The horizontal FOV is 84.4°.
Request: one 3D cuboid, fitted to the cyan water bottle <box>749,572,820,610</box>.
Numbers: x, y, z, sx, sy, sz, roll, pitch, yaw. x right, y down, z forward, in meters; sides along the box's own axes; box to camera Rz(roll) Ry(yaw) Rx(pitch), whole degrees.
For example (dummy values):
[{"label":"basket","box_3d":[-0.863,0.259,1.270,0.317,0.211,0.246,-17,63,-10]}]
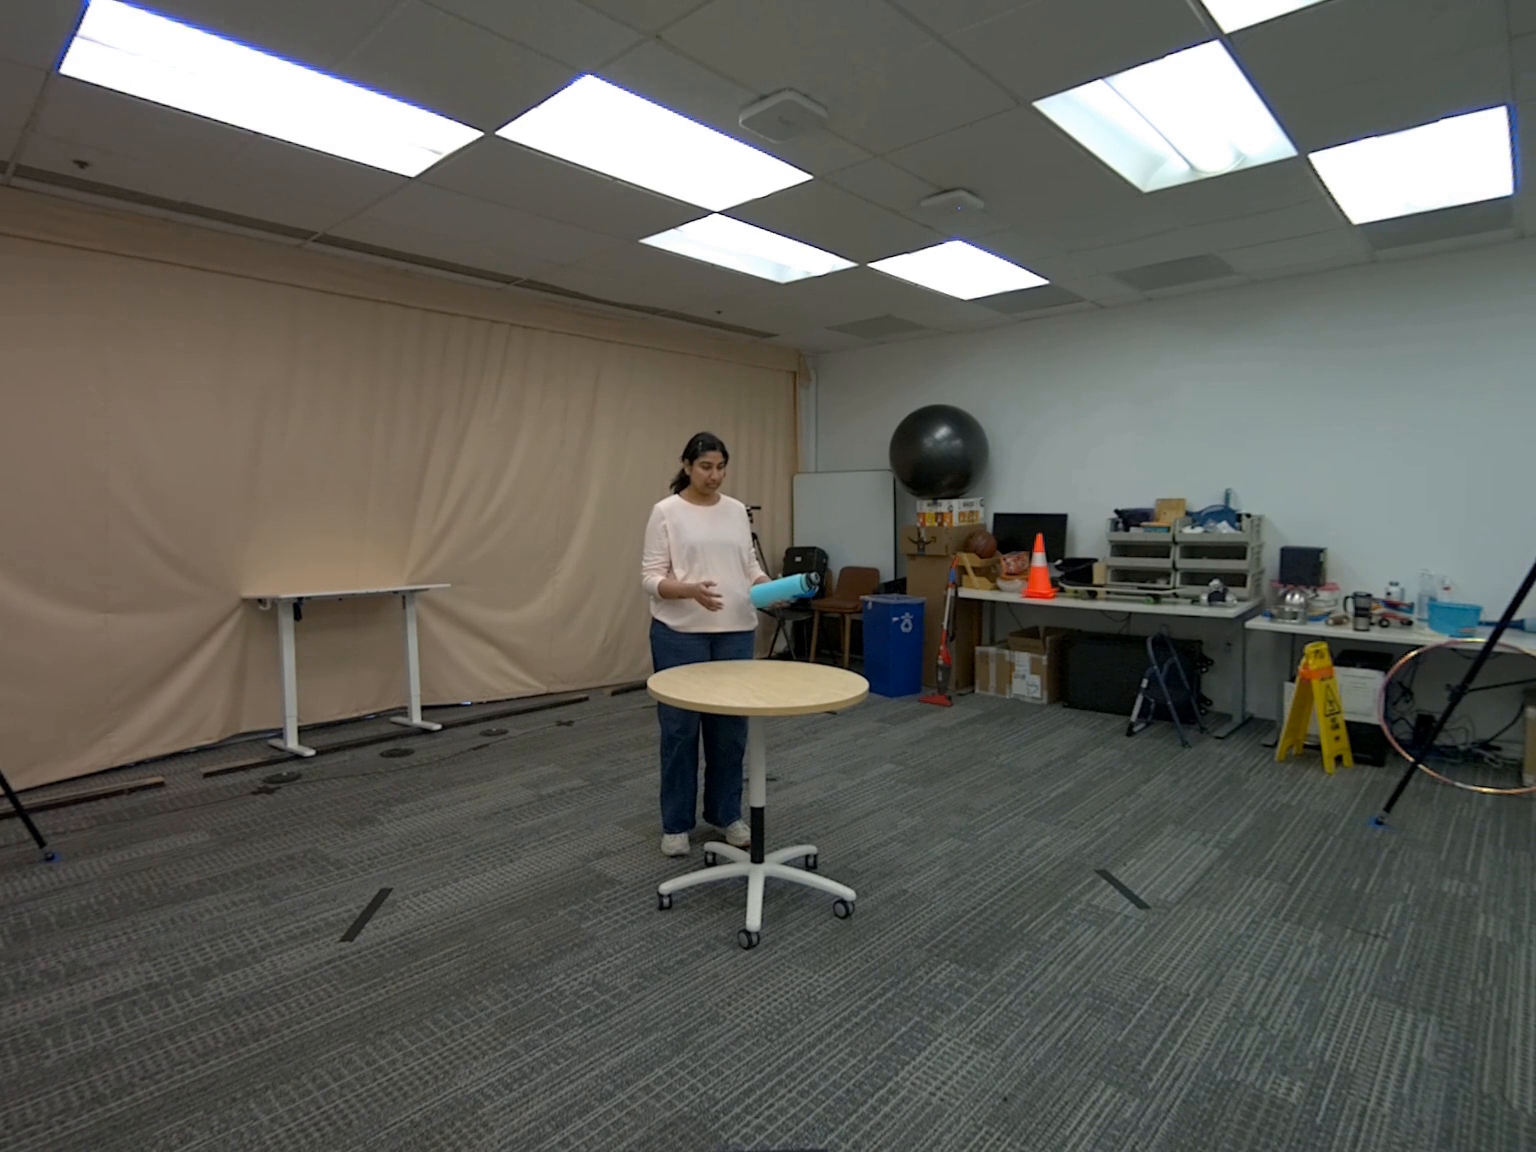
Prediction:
[{"label":"cyan water bottle","box_3d":[0.060,0.044,3.252,0.290,0.093,0.090,-15,-5,33]}]
